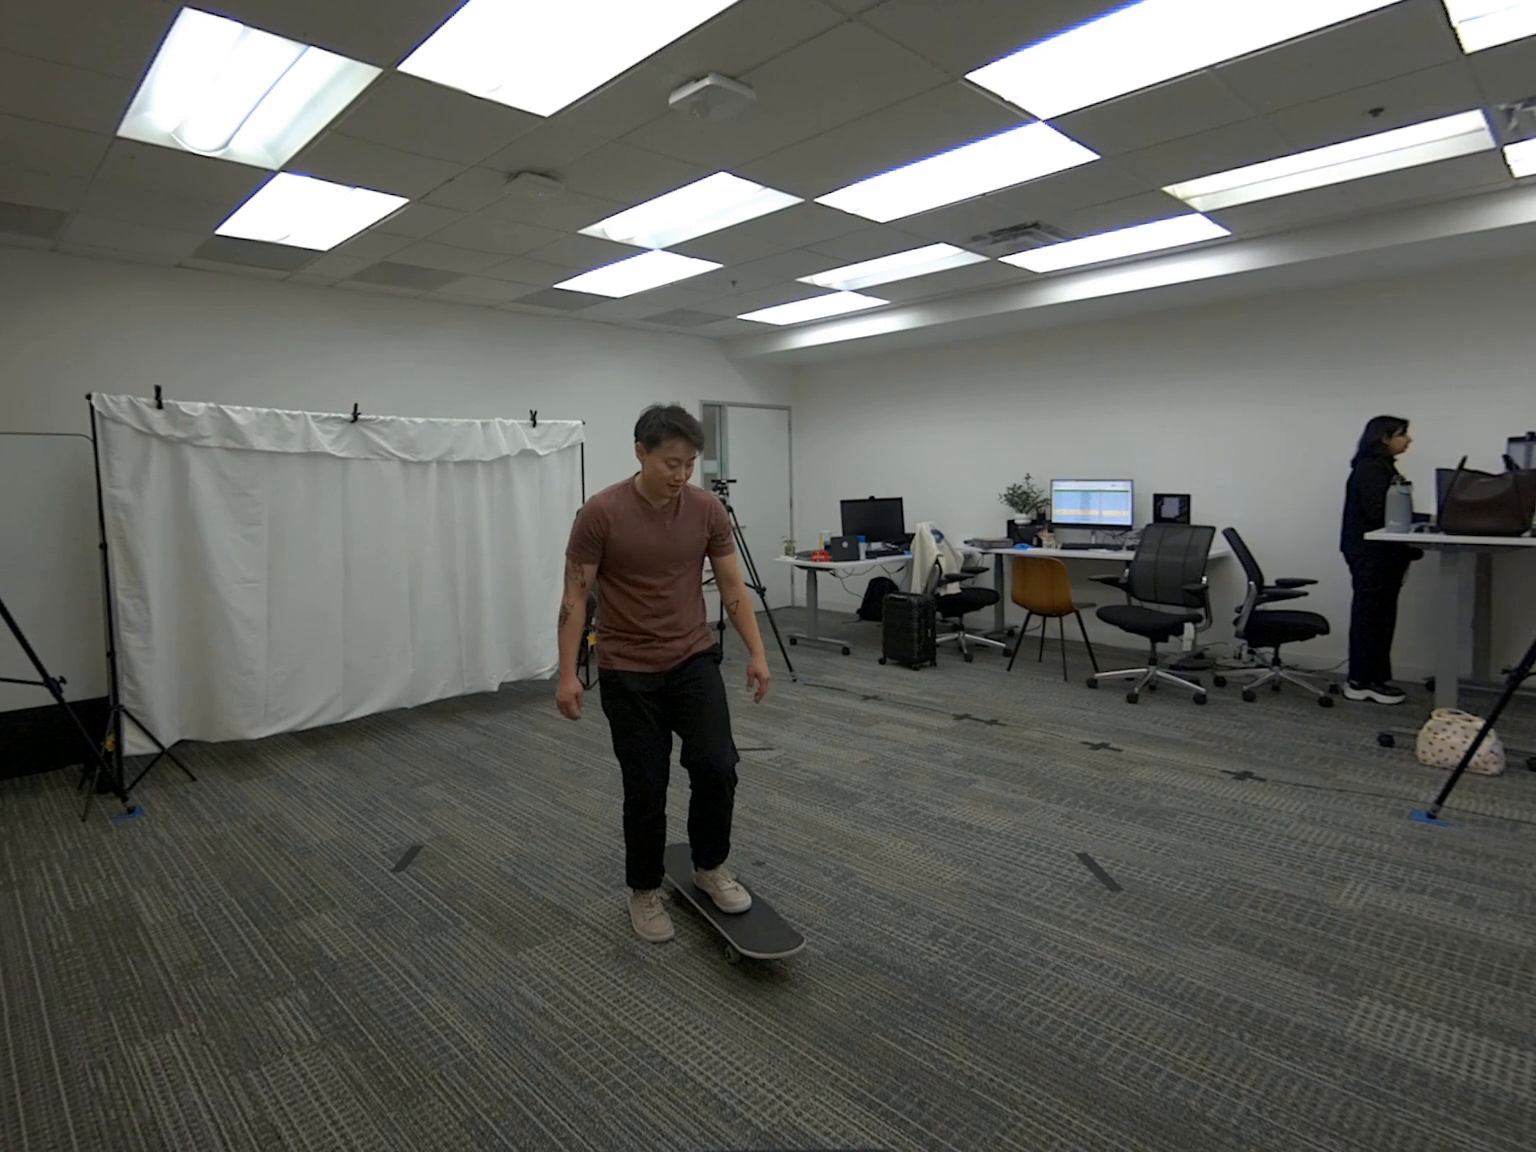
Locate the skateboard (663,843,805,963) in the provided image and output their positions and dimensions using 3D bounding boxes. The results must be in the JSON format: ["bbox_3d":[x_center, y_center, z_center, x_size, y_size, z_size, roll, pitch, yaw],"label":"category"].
[{"bbox_3d":[-0.142,1.040,2.695,0.189,0.110,0.807,-5,8,-29],"label":"skateboard"}]
